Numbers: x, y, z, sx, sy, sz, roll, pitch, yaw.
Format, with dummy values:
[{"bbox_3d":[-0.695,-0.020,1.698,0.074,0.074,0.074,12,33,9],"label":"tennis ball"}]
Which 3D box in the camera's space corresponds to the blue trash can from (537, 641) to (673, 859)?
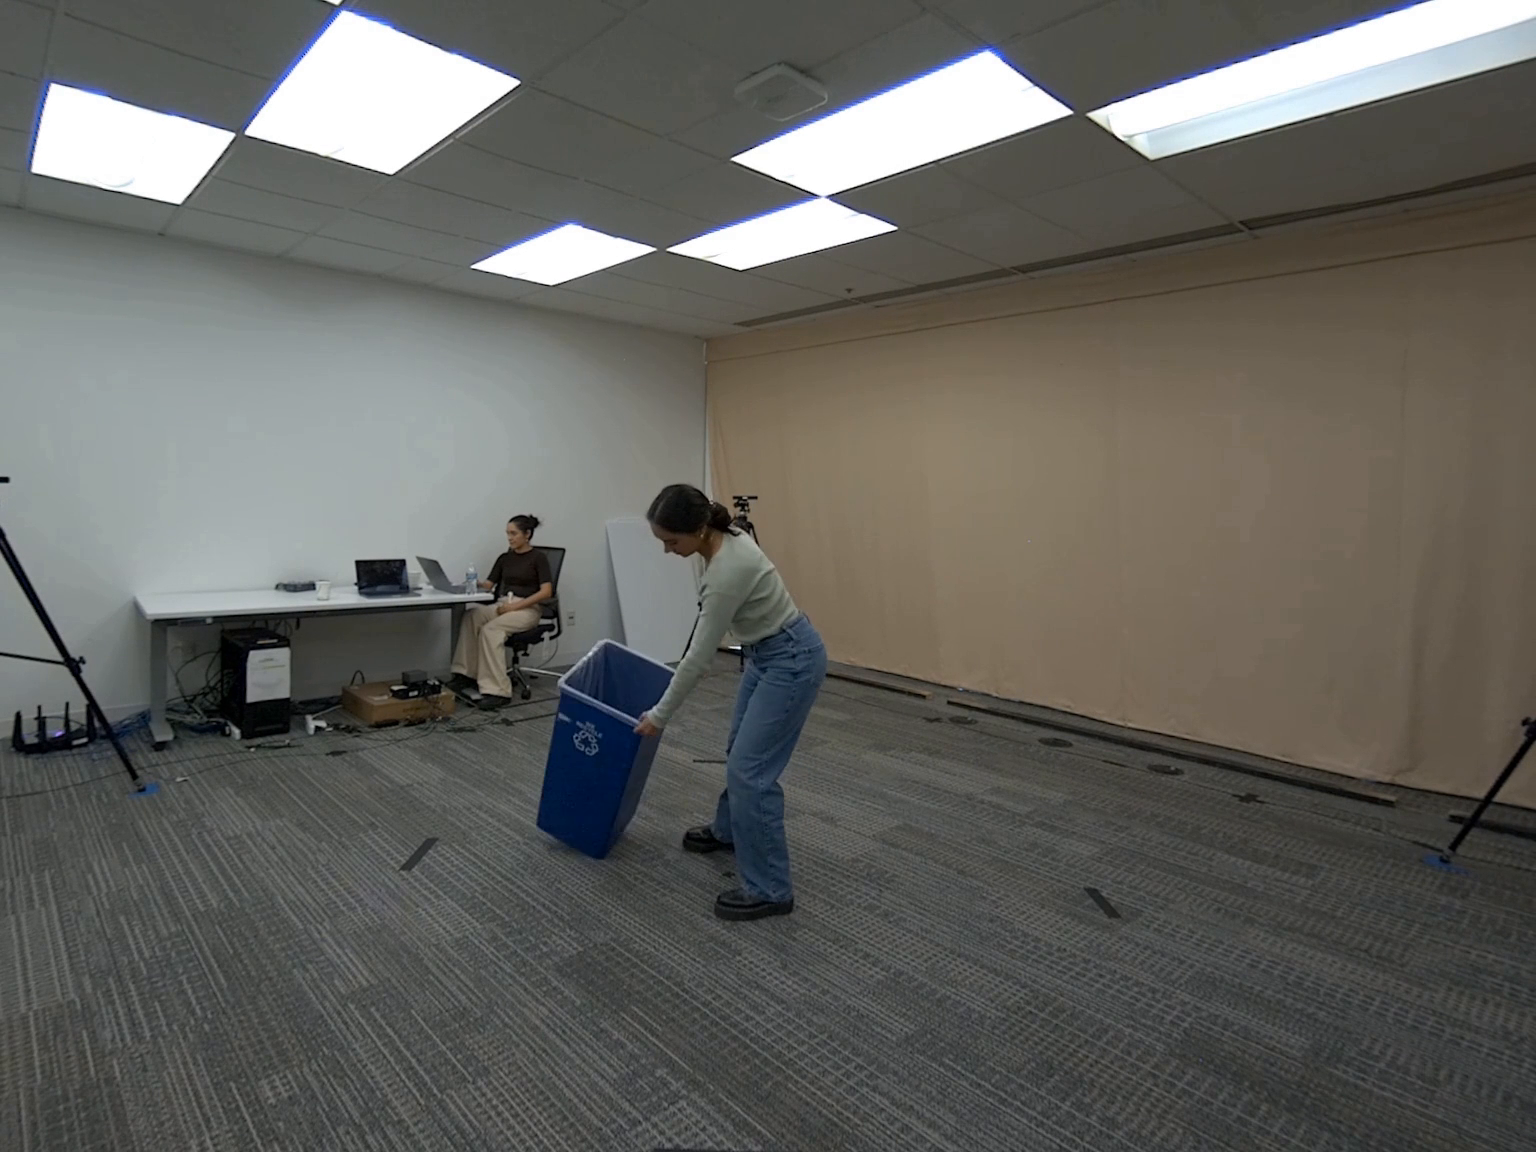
[{"bbox_3d":[-0.618,0.679,3.208,0.378,0.705,0.378,22,27,10],"label":"blue trash can"}]
